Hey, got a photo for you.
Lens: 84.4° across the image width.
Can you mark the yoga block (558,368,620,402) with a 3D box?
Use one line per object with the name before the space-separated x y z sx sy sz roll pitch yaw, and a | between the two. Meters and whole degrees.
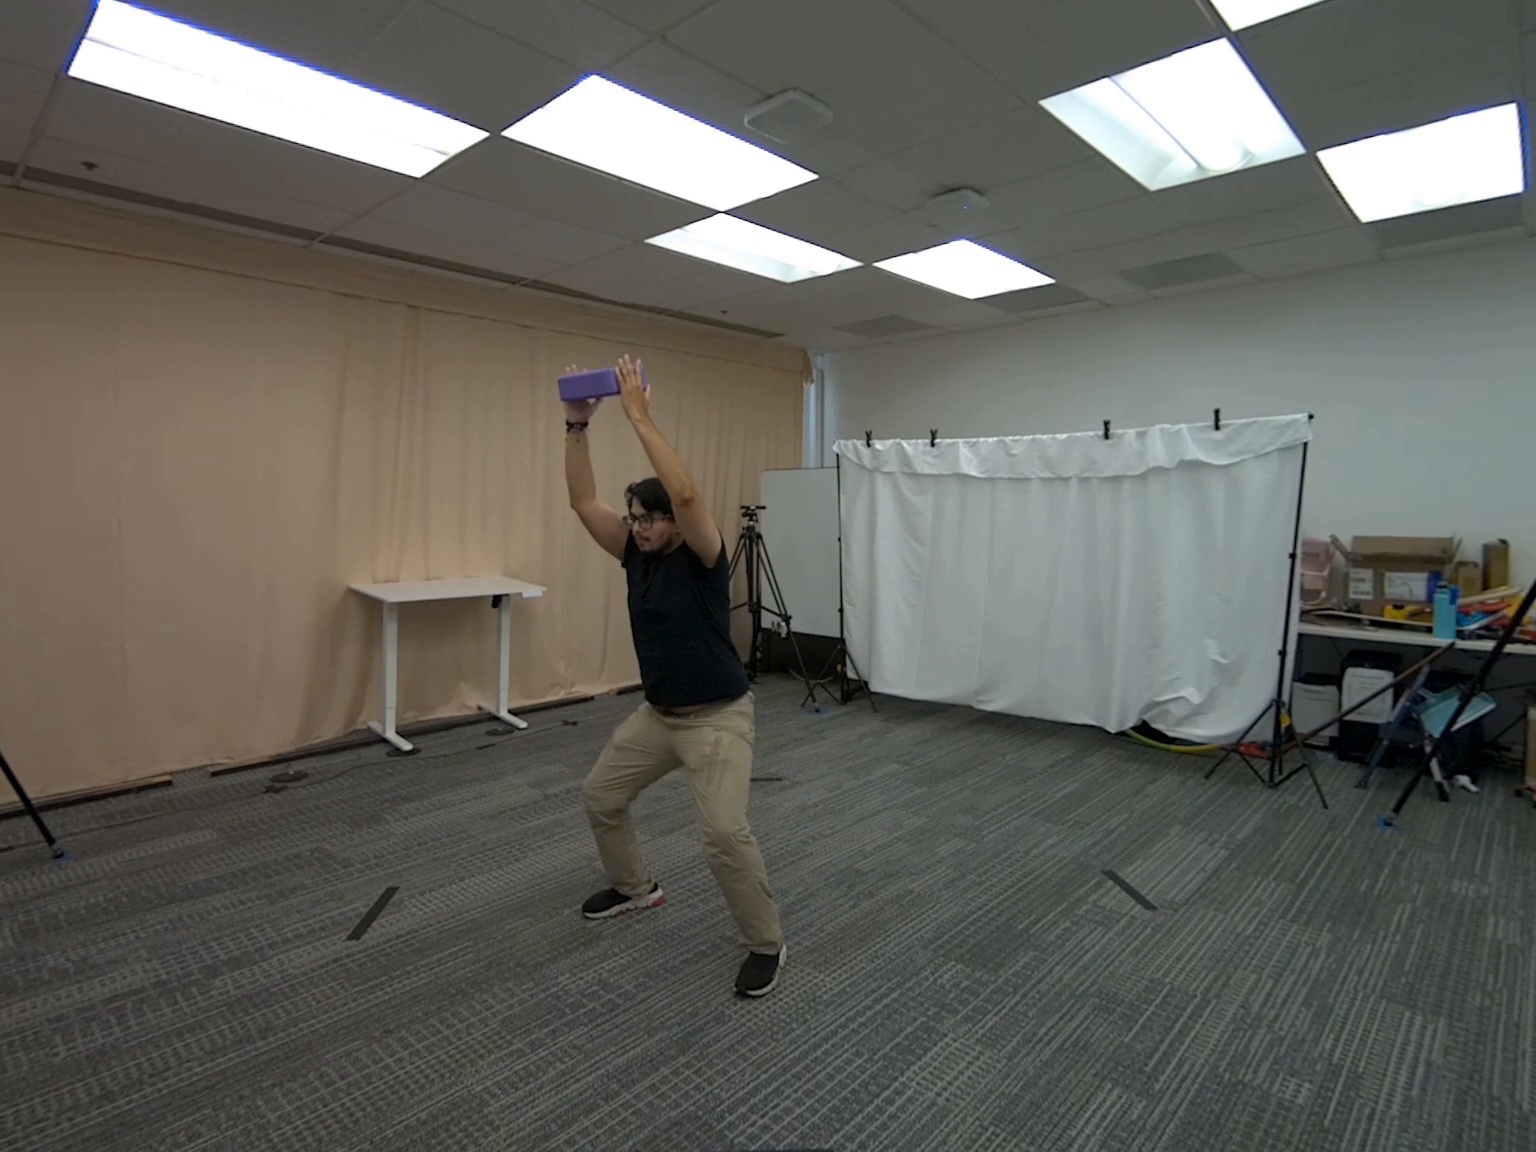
yoga block | -0.482 -0.558 2.443 0.237 0.075 0.146 4 19 39
